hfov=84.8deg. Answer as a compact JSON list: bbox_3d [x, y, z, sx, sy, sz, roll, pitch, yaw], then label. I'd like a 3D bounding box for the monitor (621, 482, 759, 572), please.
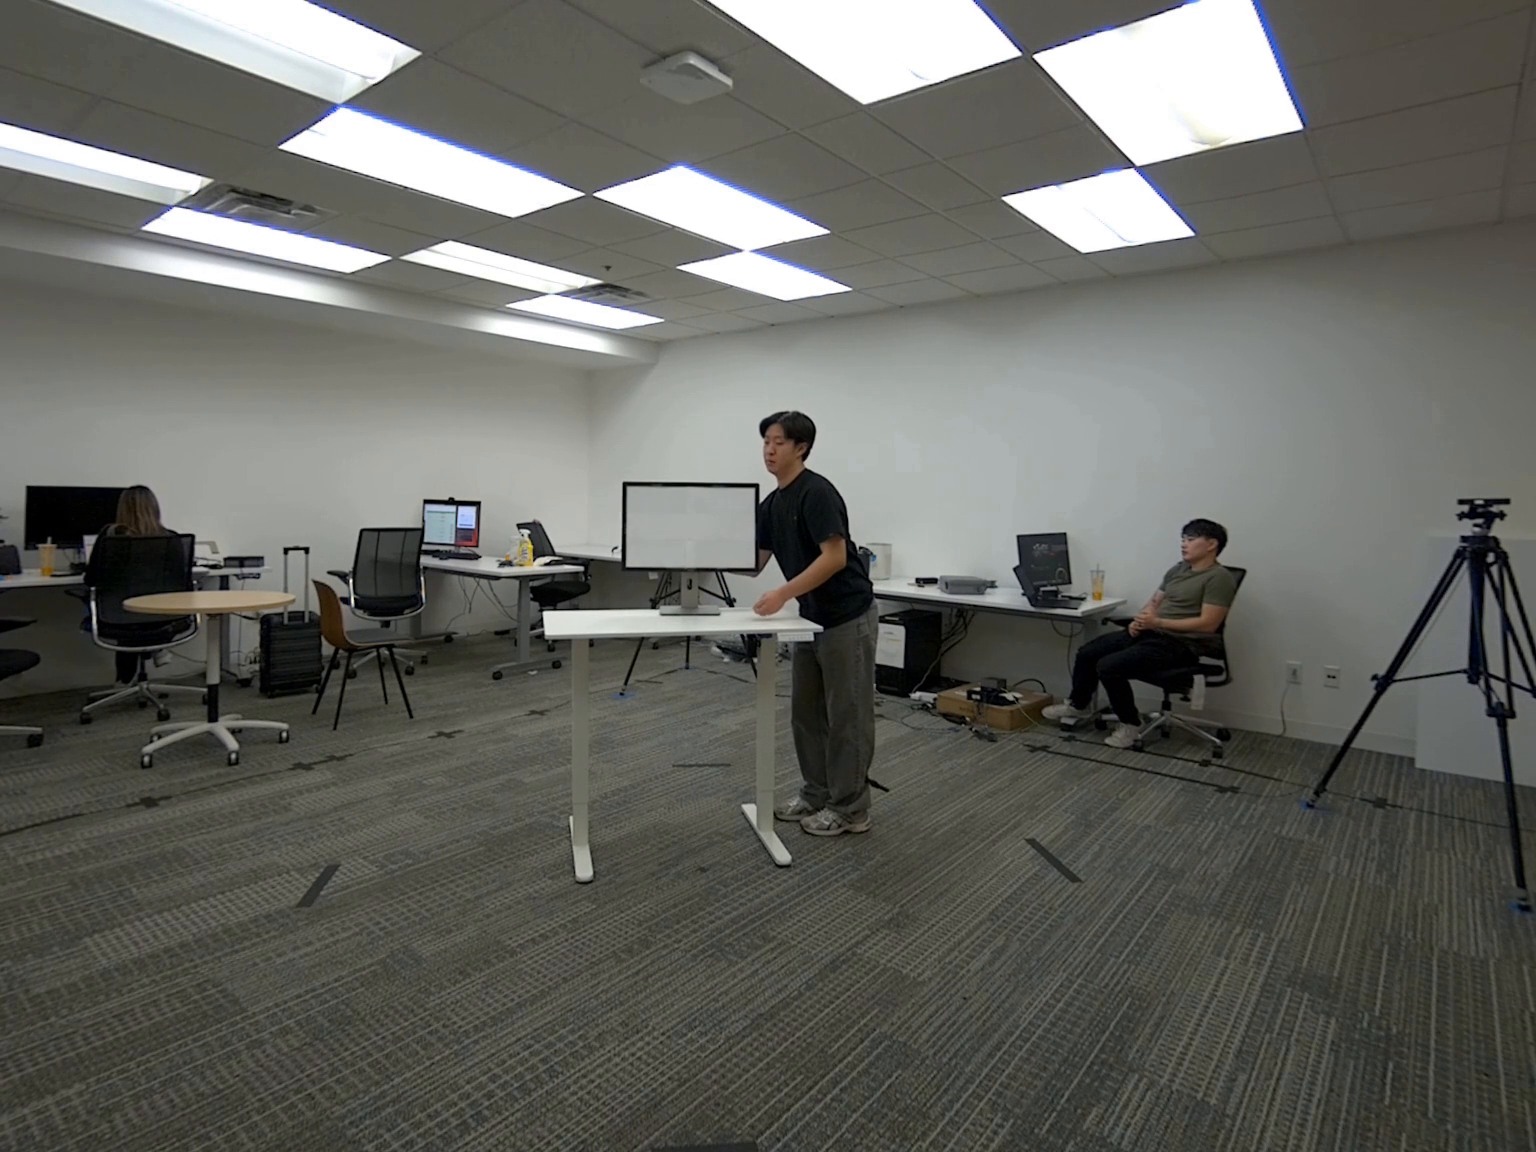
[{"bbox_3d":[-0.330,-0.110,3.497,0.561,0.560,0.225,0,10,-2],"label":"monitor"}]
